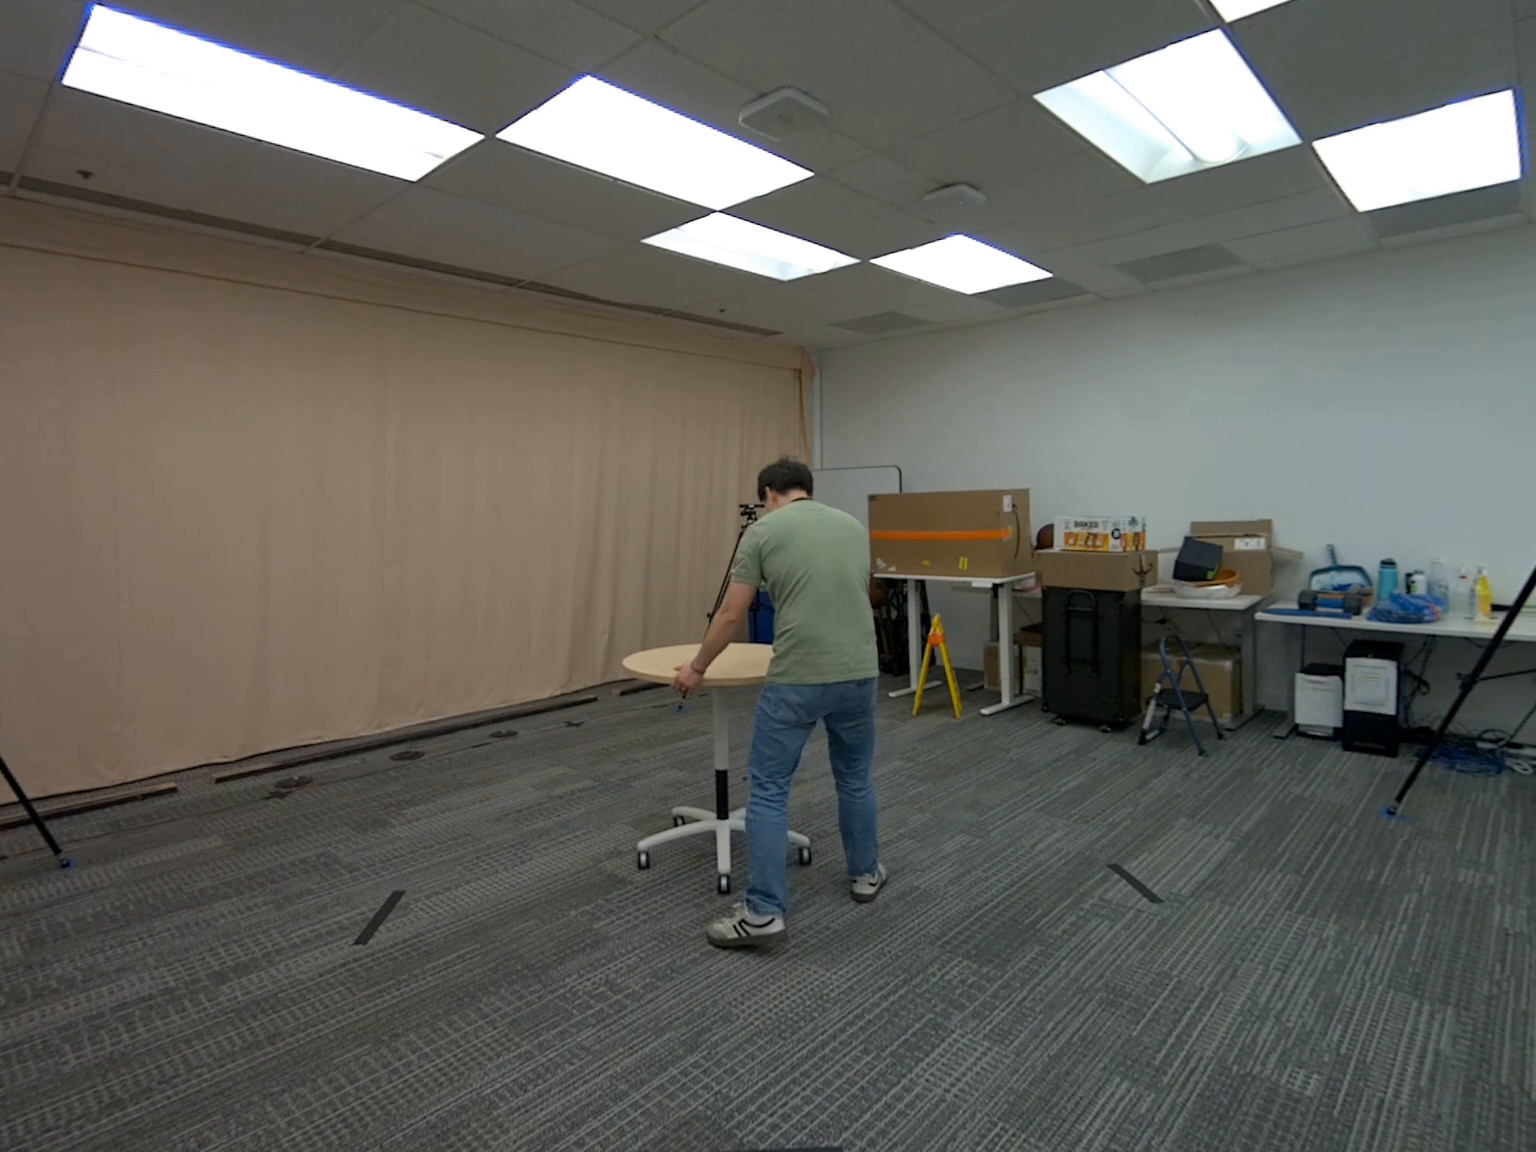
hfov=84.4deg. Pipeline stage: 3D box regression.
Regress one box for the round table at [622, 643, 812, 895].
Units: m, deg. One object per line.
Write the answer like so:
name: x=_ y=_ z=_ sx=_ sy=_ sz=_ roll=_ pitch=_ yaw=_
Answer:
round table: x=-0.189 y=0.722 z=3.352 sx=0.763 sy=0.792 sz=0.766 roll=-1 pitch=3 yaw=-2
